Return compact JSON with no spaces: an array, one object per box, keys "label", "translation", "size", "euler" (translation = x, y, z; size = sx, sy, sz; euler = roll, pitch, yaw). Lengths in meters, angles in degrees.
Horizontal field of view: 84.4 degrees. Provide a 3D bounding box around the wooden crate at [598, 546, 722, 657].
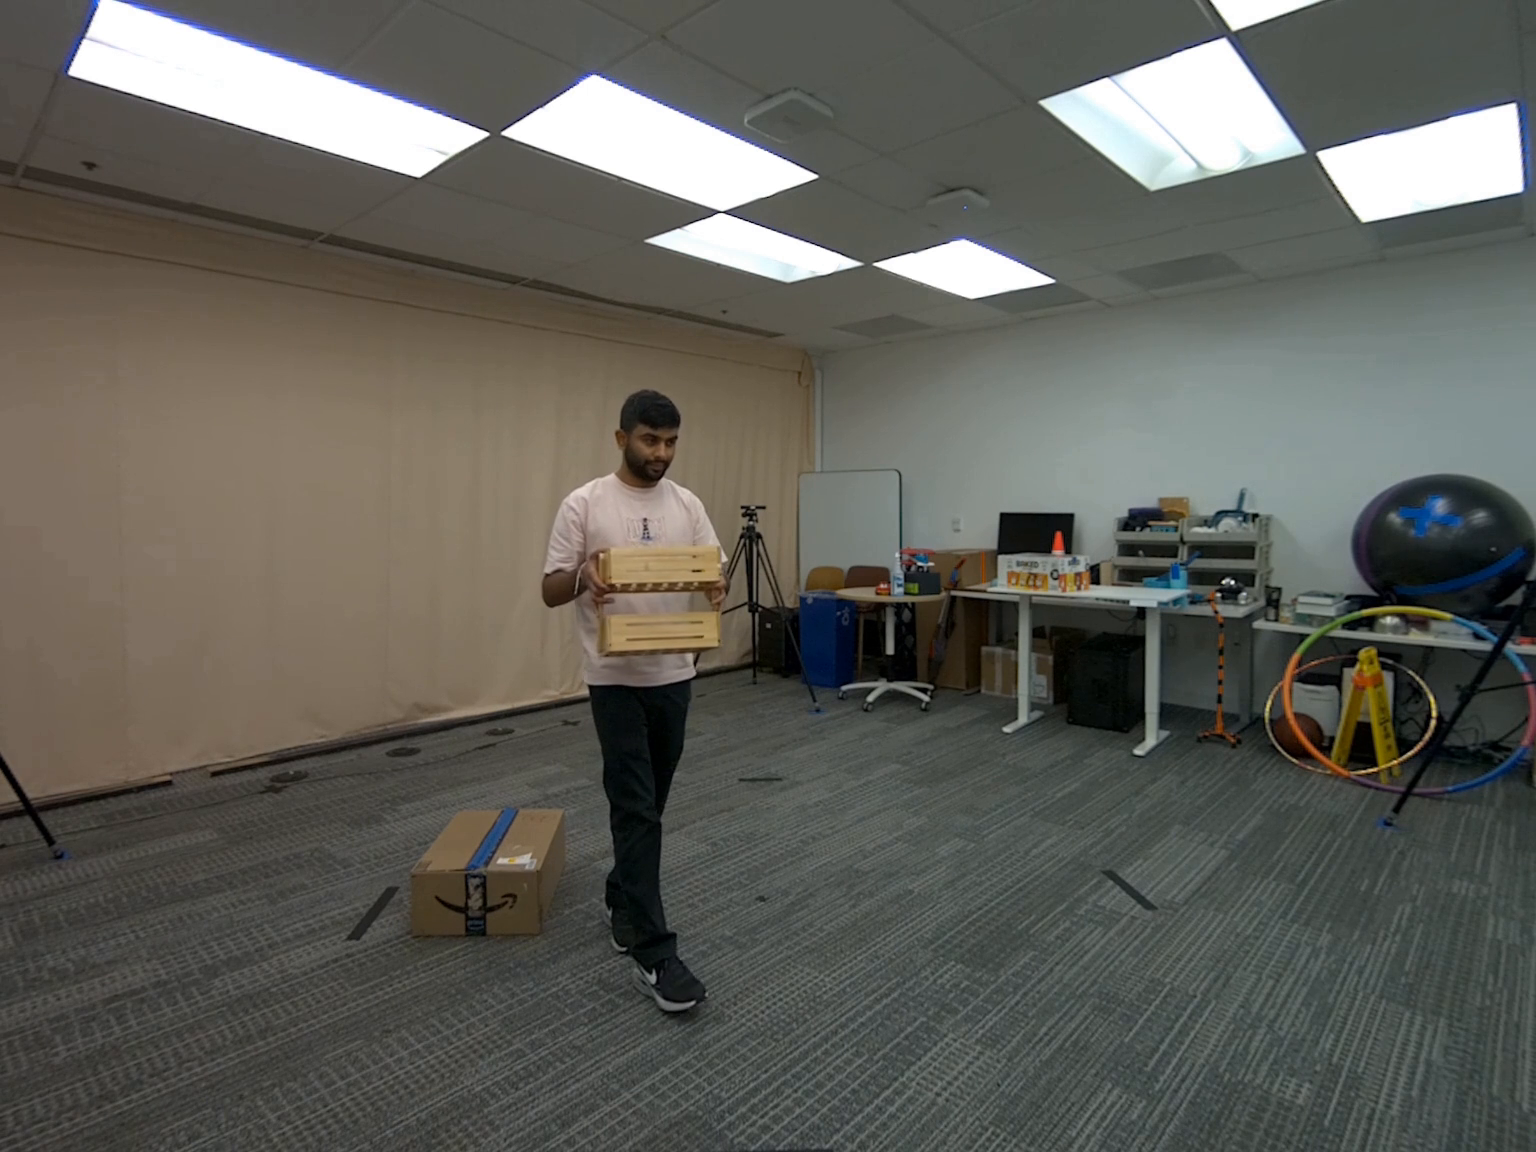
[{"label":"wooden crate","translation":[-0.313,0.074,2.296],"size":[0.319,0.275,0.305],"euler":[-1,-10,-16]}]
